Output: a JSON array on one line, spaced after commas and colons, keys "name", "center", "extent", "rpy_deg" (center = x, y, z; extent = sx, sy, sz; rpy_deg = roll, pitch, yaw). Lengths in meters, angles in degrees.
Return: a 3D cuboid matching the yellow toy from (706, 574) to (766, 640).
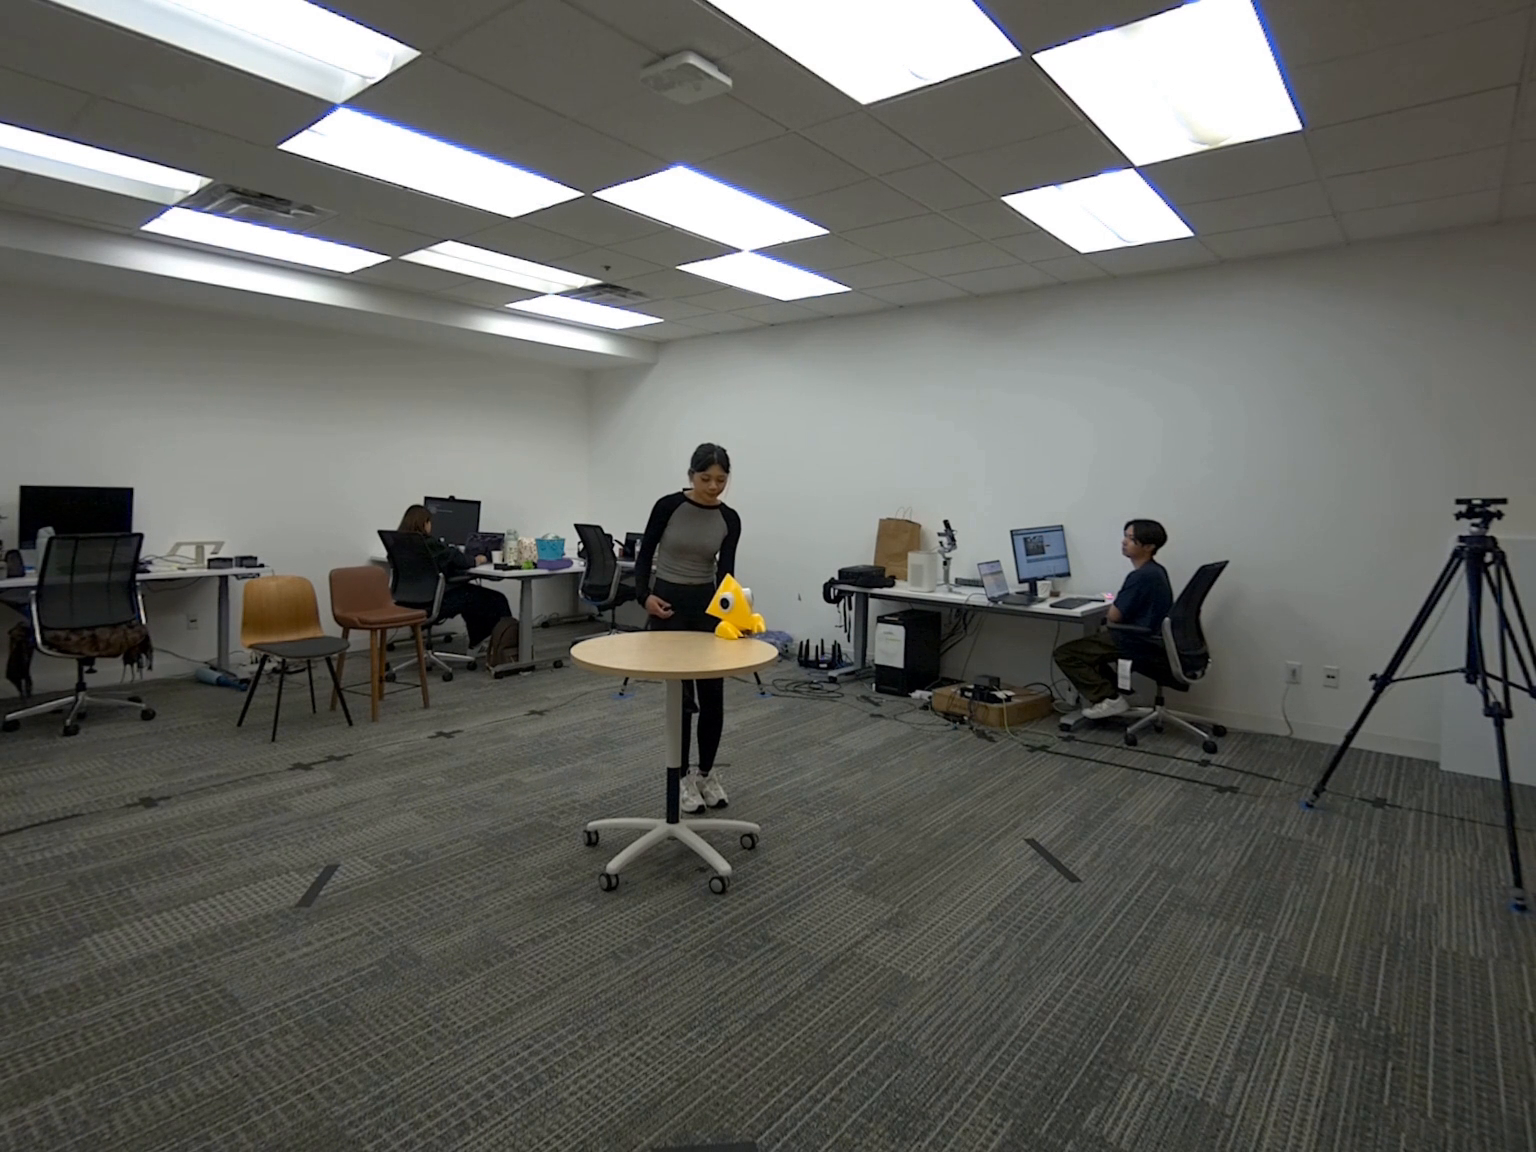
[{"name": "yellow toy", "center": [-0.136, 0.108, 3.457], "extent": [0.200, 0.228, 0.199], "rpy_deg": [-11, 13, -29]}]
